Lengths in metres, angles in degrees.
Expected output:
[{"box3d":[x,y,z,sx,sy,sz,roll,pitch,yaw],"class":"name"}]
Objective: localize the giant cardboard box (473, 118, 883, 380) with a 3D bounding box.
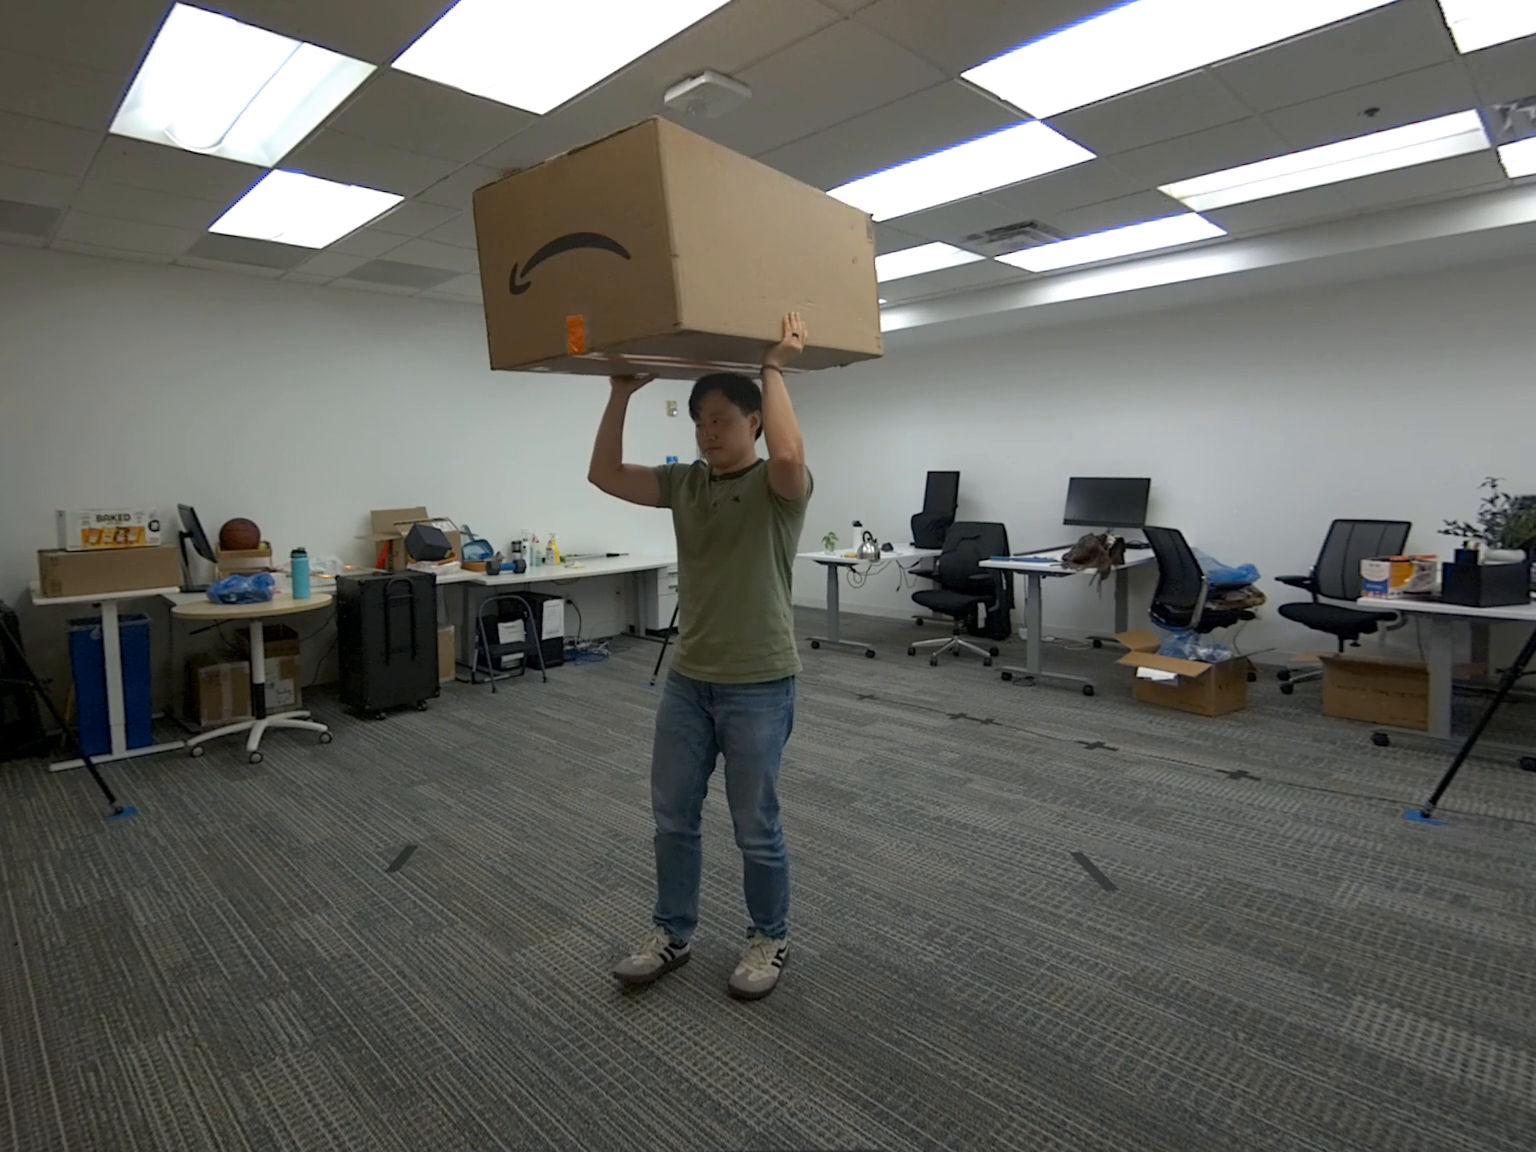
[{"box3d":[-0.177,-0.778,2.284,0.593,0.424,1.005,-1,9,33],"class":"giant cardboard box"}]
